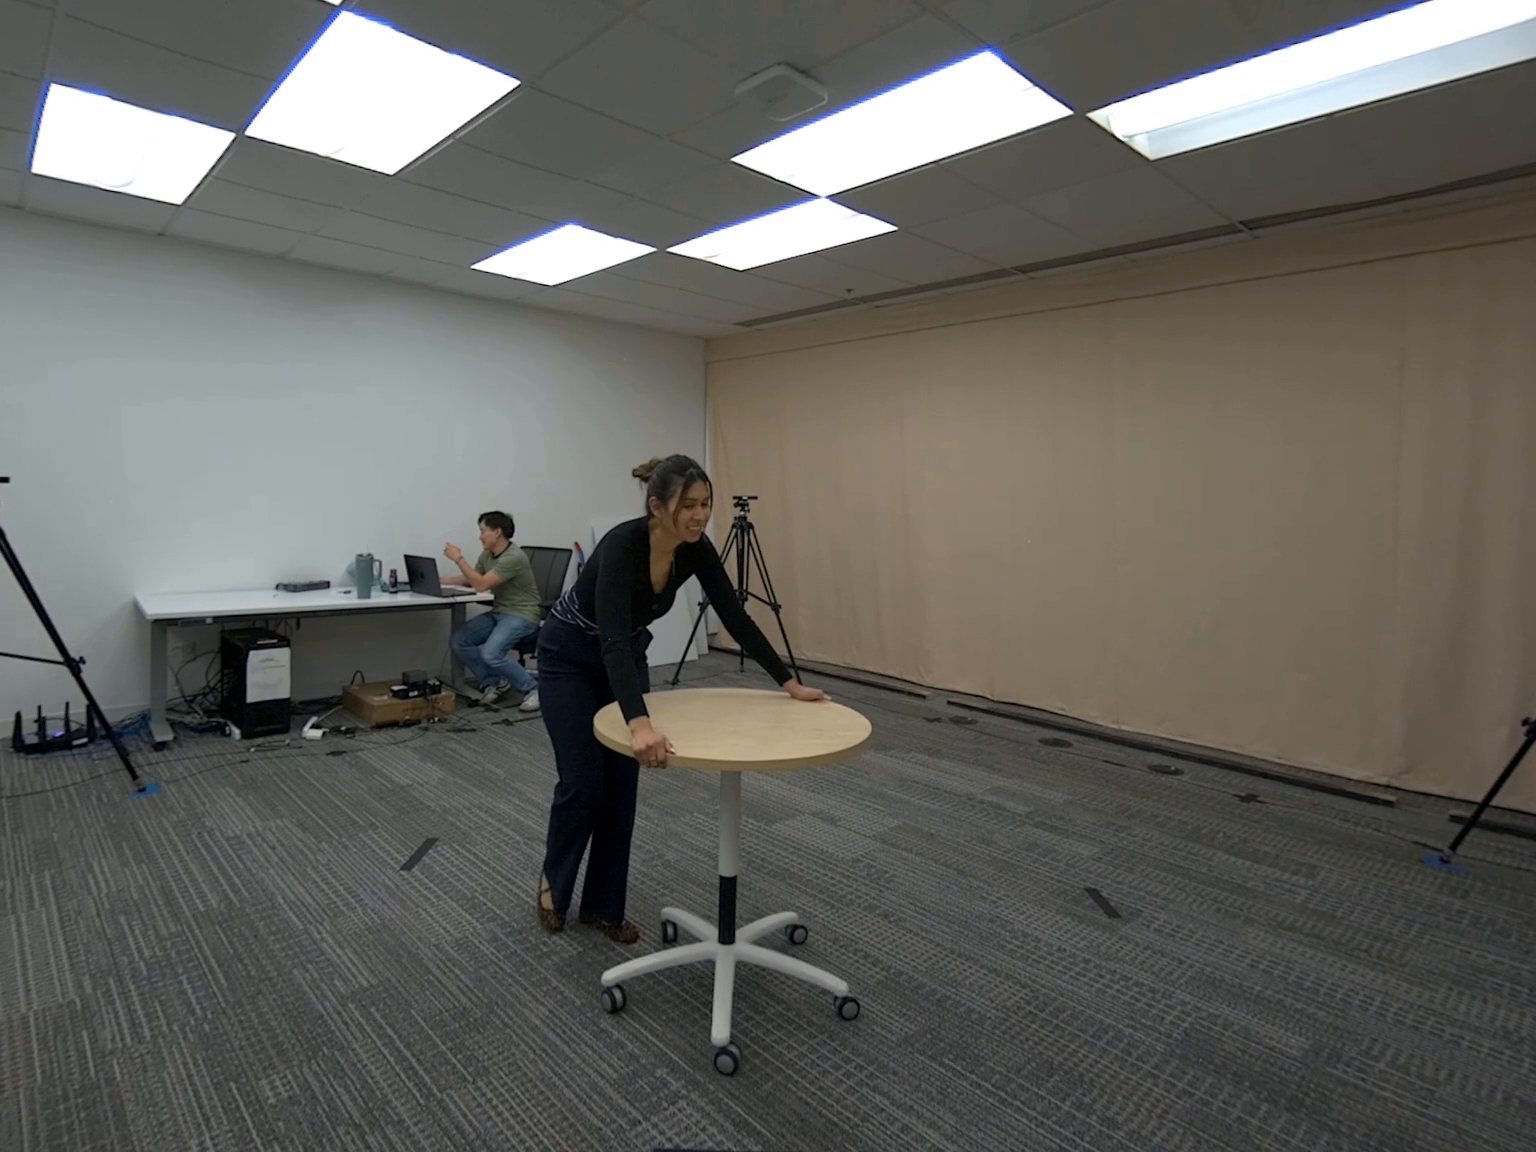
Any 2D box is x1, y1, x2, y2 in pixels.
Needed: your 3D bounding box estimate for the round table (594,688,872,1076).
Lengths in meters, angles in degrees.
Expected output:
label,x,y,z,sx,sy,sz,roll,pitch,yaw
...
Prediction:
label,x,y,z,sx,sy,sz,roll,pitch,yaw
round table,-0.100,0.789,2.357,0.763,0.792,0.767,1,4,-1
